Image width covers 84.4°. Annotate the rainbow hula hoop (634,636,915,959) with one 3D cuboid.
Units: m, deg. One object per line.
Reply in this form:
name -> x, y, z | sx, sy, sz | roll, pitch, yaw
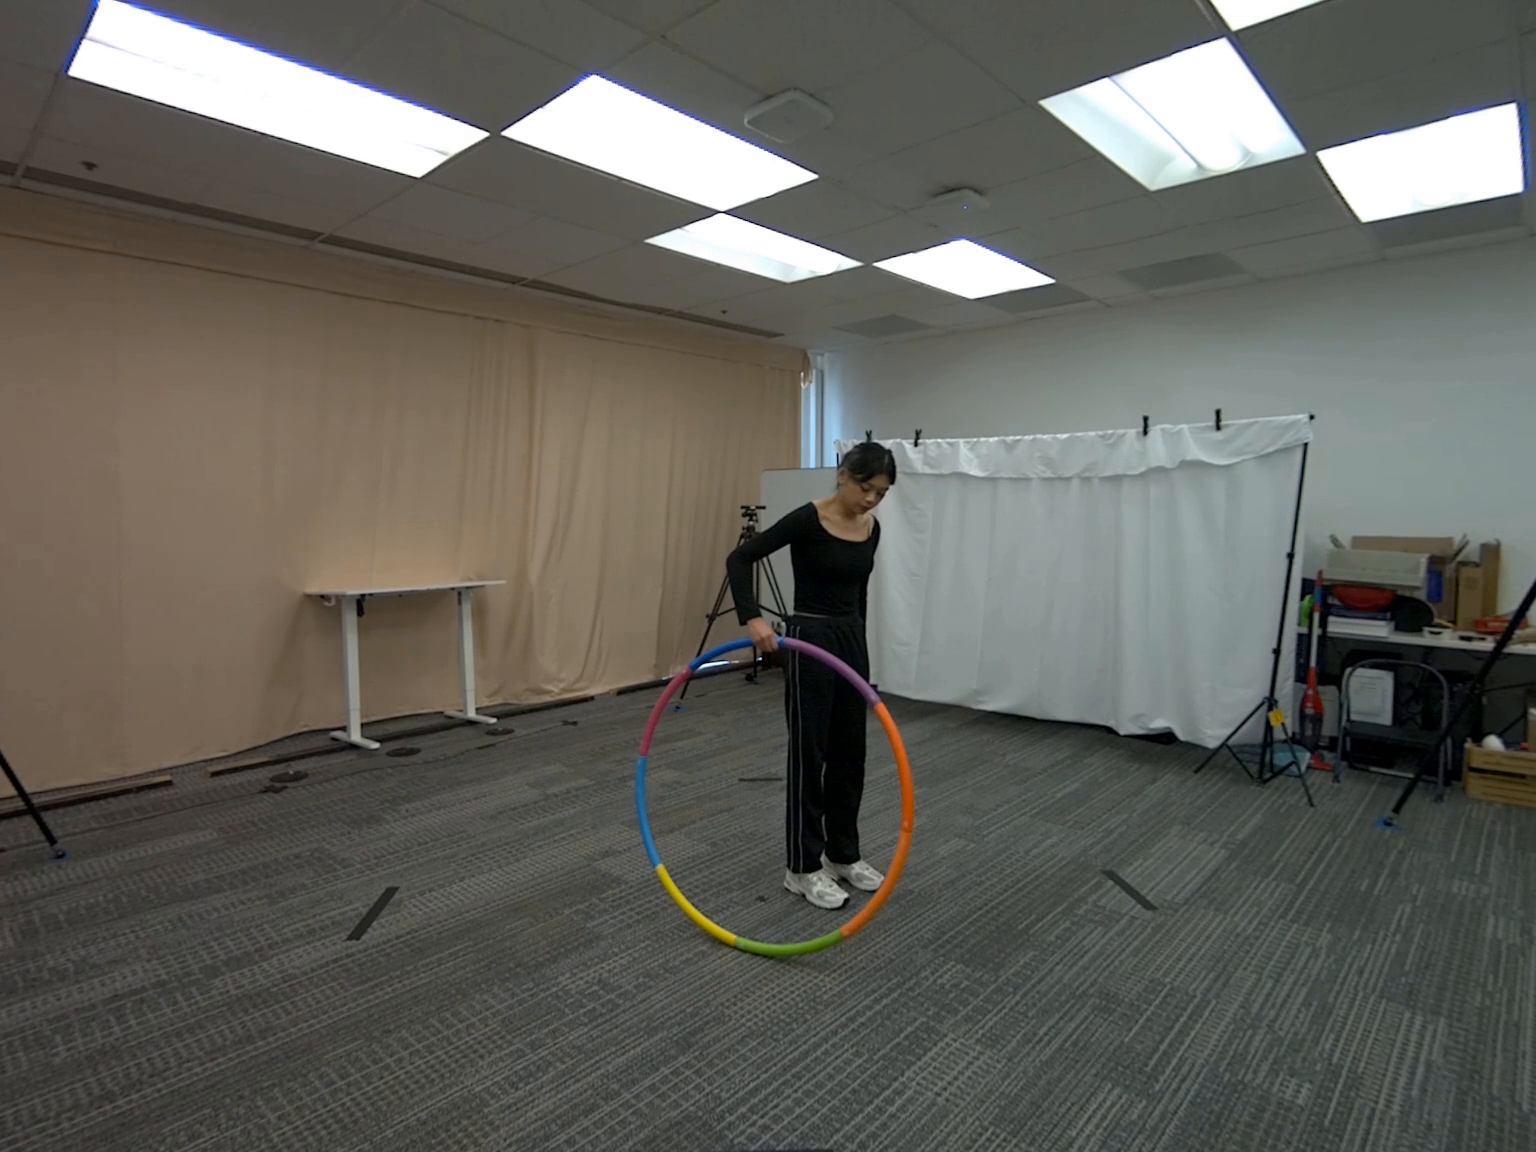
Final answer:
rainbow hula hoop -> -0.018, 0.683, 2.696 | 1.006, 0.982, 0.034 | 2, -9, 29
